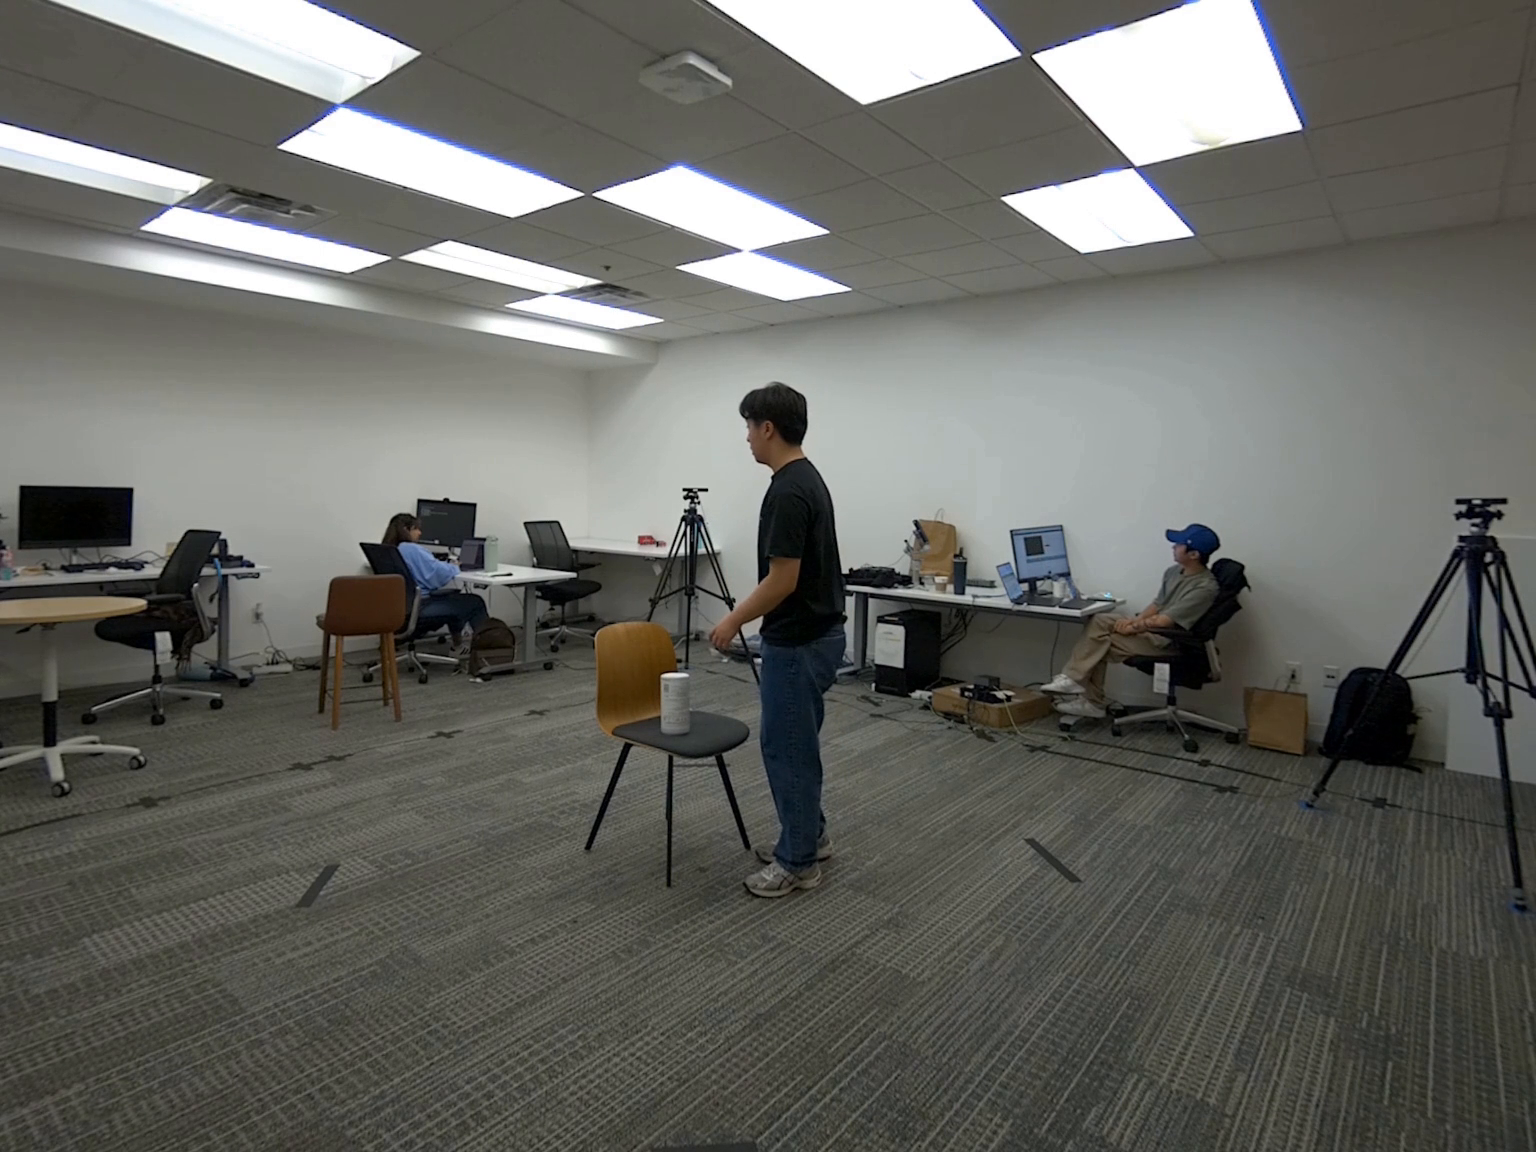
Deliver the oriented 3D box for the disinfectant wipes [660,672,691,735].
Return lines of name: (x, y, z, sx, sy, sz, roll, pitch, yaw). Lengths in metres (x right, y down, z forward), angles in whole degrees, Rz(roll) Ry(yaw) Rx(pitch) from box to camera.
disinfectant wipes: (-0.355, 0.475, 3.199, 0.118, 0.217, 0.118, -1, 0, -2)
